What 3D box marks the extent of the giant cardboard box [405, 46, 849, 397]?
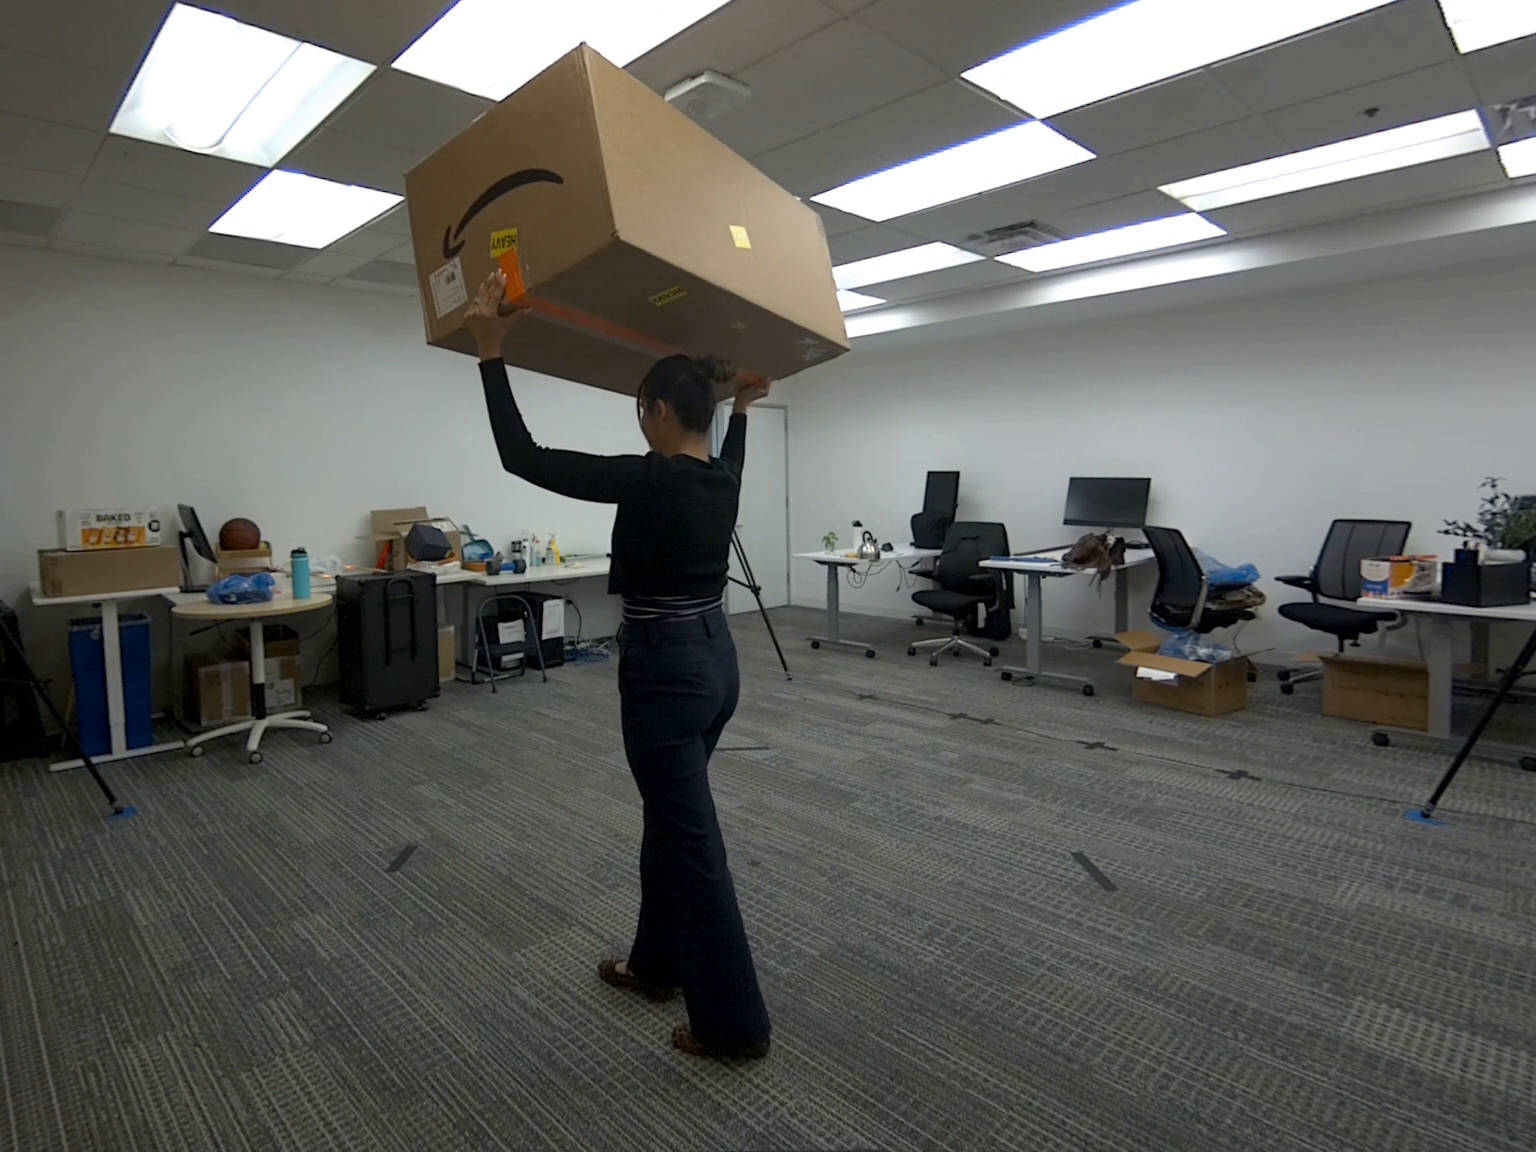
[{"bbox_3d":[-0.294,-0.775,2.199,0.588,0.430,0.998,-15,-7,31],"label":"giant cardboard box"}]
